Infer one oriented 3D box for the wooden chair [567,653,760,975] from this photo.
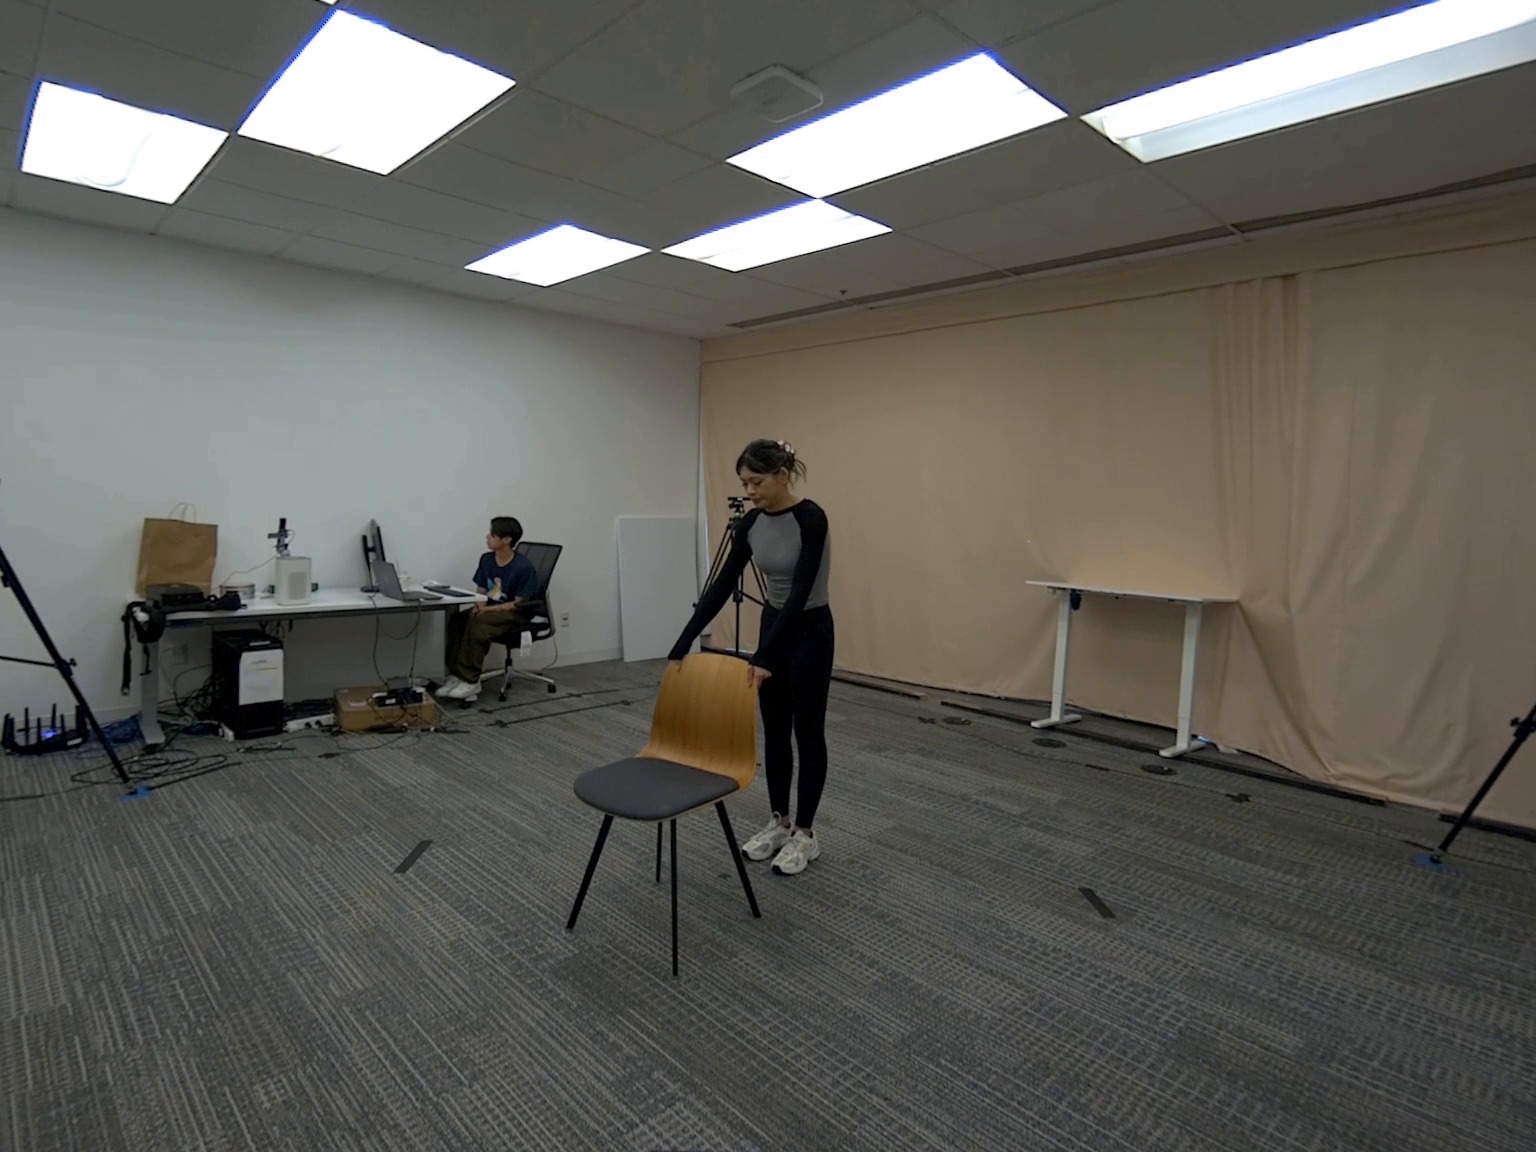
[{"bbox_3d":[-0.324,0.708,2.712,0.489,0.878,0.510,4,-1,34],"label":"wooden chair"}]
